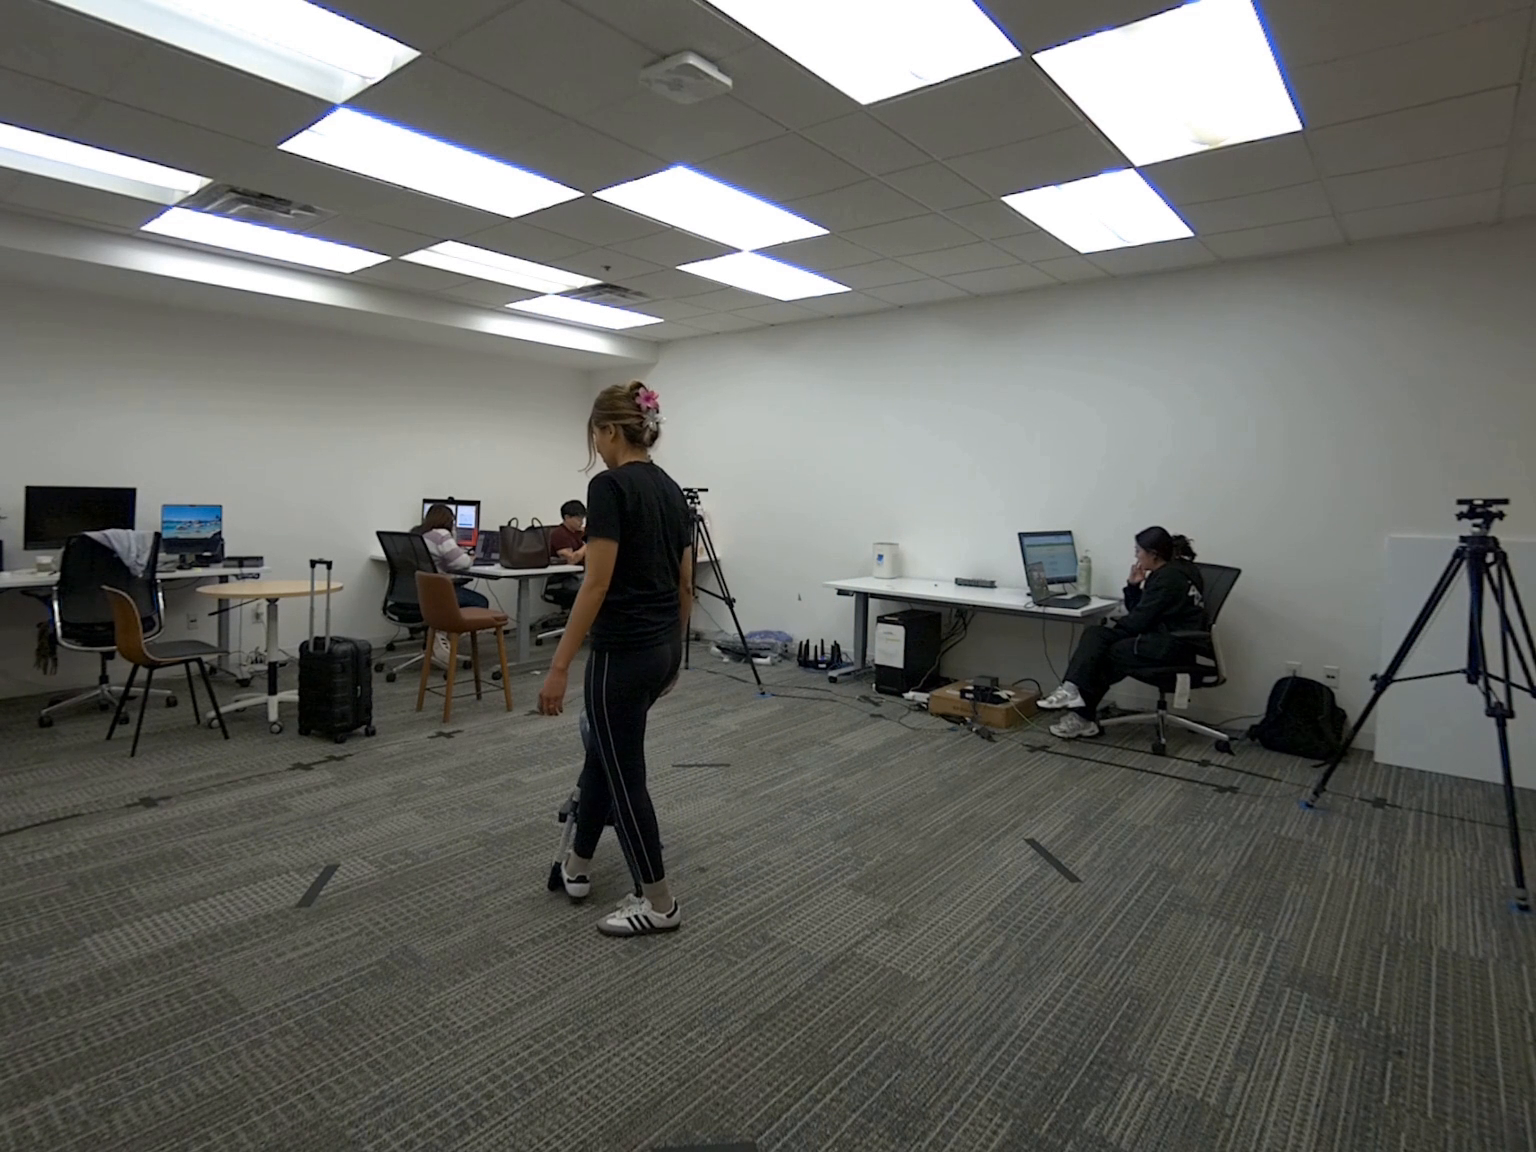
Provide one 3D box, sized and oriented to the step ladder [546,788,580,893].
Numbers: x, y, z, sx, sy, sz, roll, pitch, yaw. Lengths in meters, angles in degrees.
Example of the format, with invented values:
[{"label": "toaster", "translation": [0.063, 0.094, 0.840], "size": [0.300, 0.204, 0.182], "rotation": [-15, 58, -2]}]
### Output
[{"label": "step ladder", "translation": [-0.586, 0.761, 3.102], "size": [0.349, 0.605, 0.431], "rotation": [2, 3, -1]}]
